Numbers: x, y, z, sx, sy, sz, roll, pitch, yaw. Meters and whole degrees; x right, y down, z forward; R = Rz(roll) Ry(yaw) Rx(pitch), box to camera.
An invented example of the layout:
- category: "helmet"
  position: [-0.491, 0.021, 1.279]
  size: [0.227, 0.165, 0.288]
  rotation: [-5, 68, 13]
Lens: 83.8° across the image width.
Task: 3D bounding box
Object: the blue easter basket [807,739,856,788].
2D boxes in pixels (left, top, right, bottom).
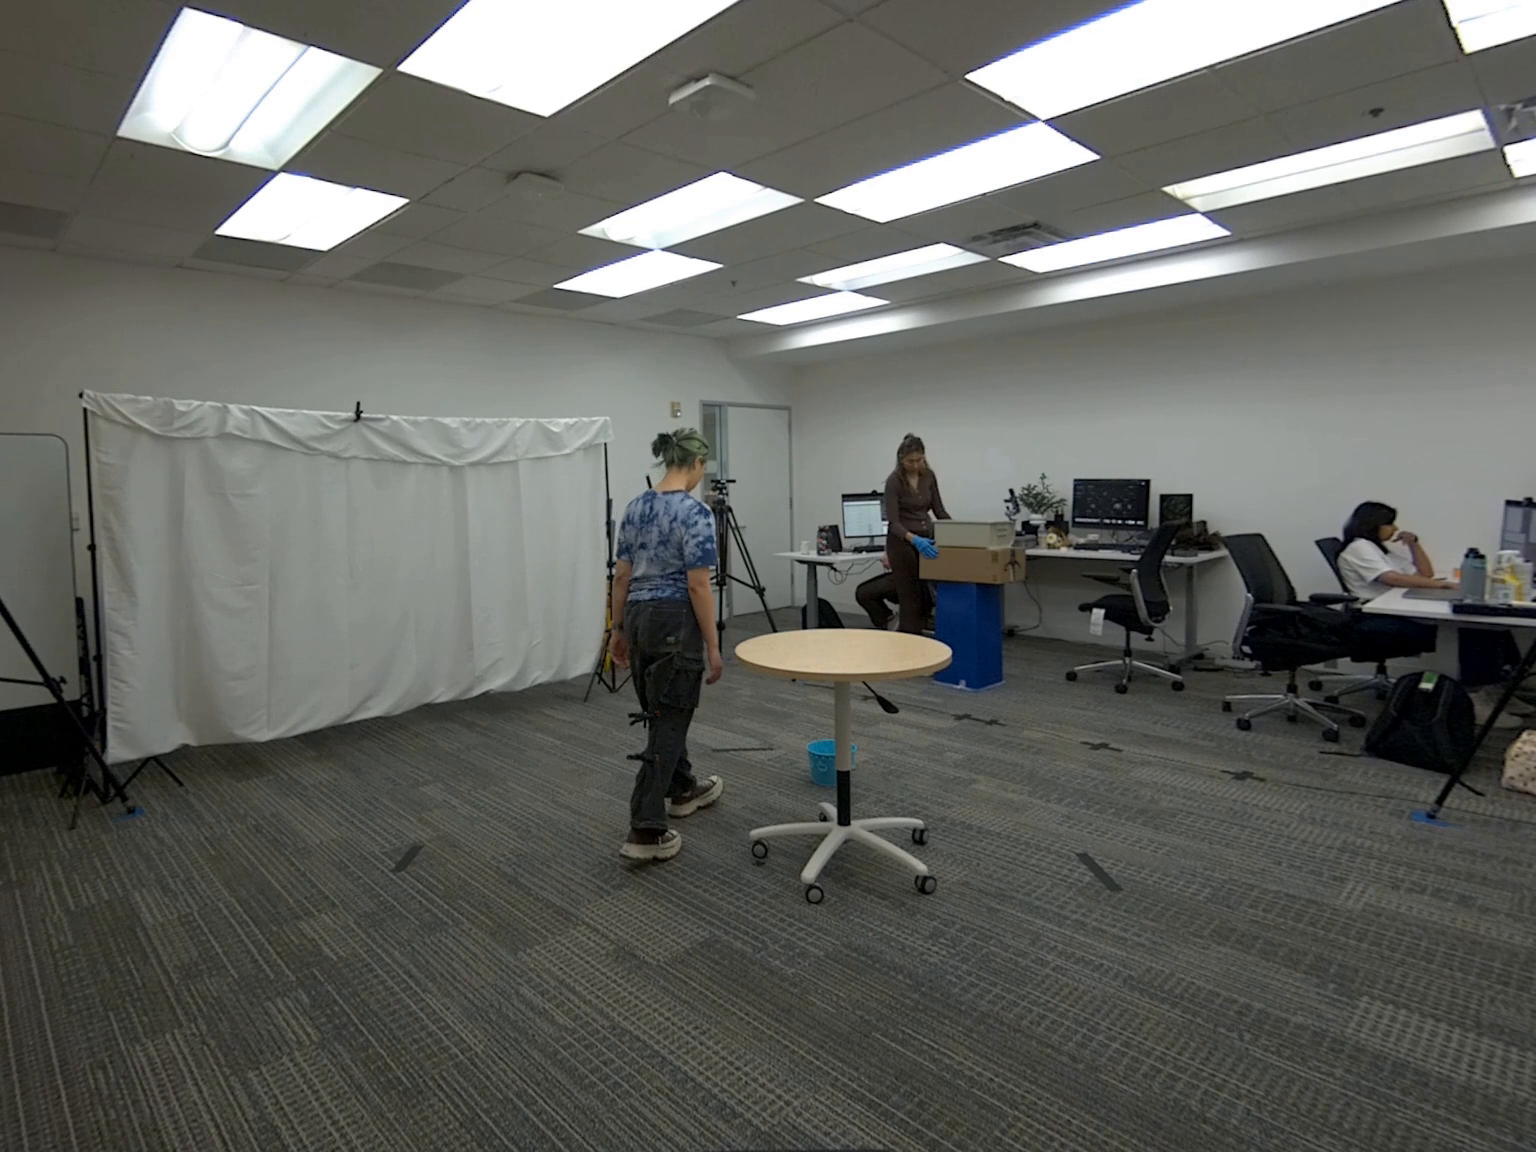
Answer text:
- category: "blue easter basket"
  position: [0.300, 0.868, 3.969]
  size: [0.243, 0.155, 0.245]
  rotation: [-2, 6, -2]
